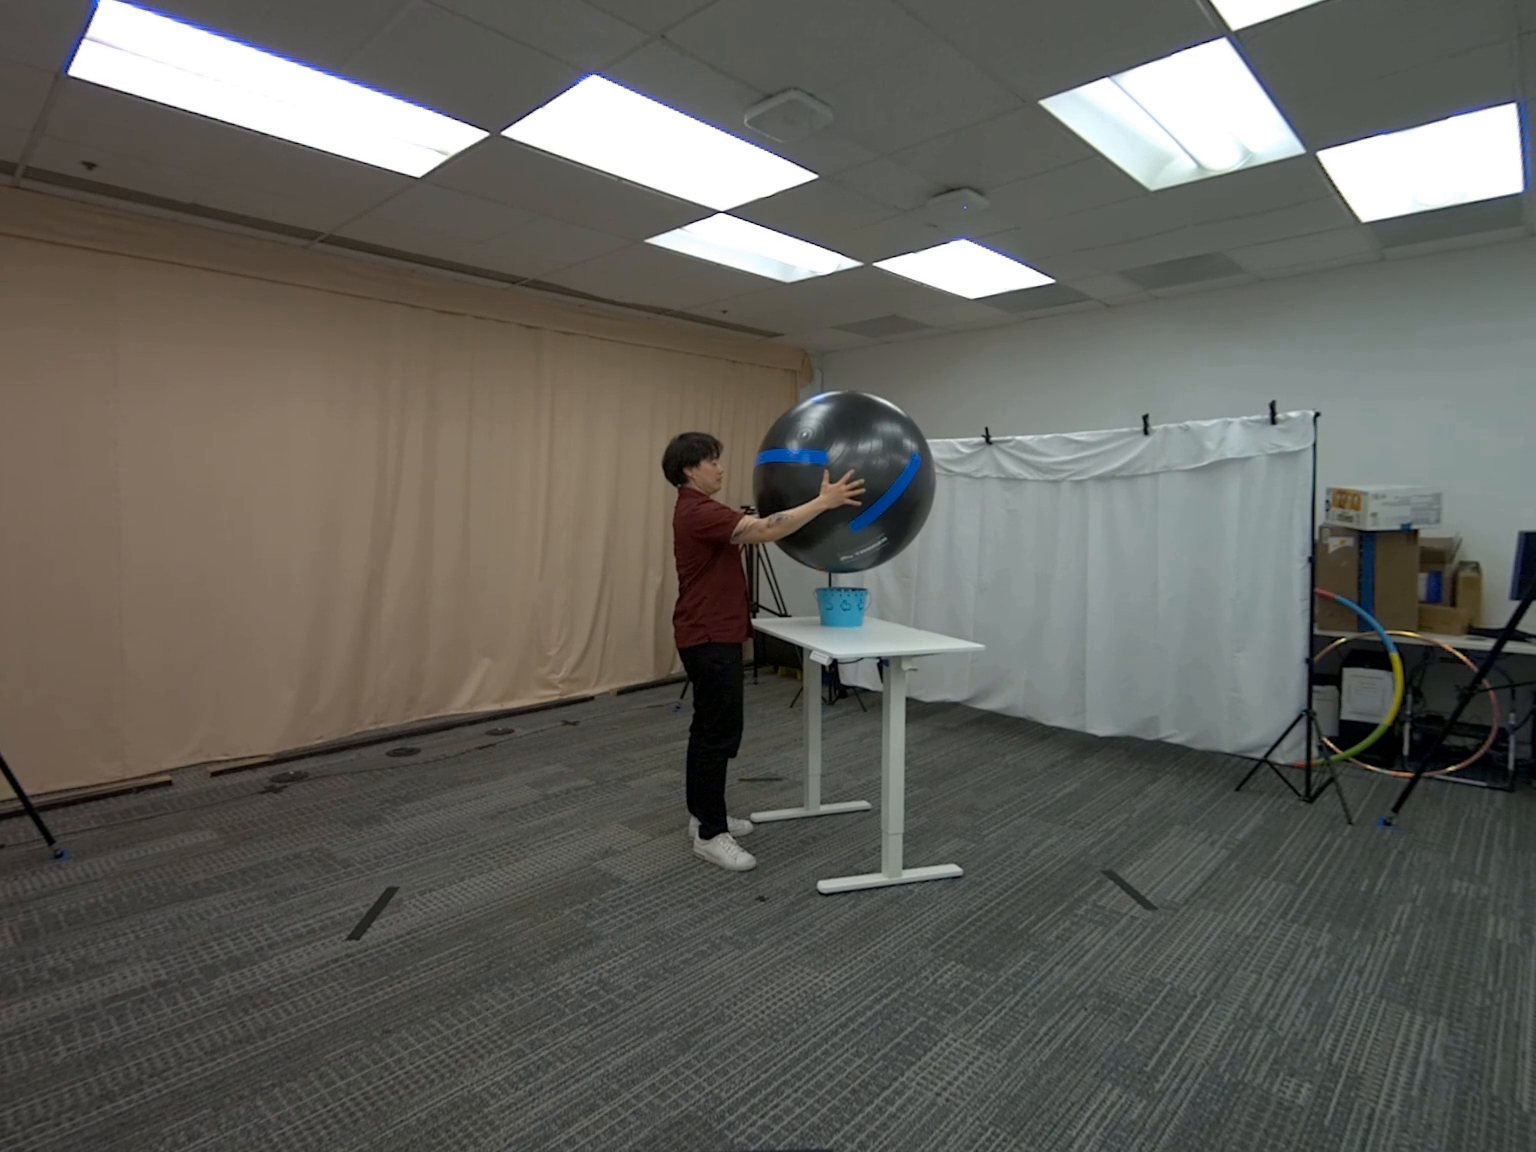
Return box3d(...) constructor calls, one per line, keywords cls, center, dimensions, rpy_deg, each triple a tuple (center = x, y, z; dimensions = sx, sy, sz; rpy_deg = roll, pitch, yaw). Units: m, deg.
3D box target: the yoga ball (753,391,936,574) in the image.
box3d(cls="yoga ball", center=(0.324, -0.385, 3.544), dimensions=(0.757, 0.756, 0.760), rpy_deg=(0, 4, -2))
